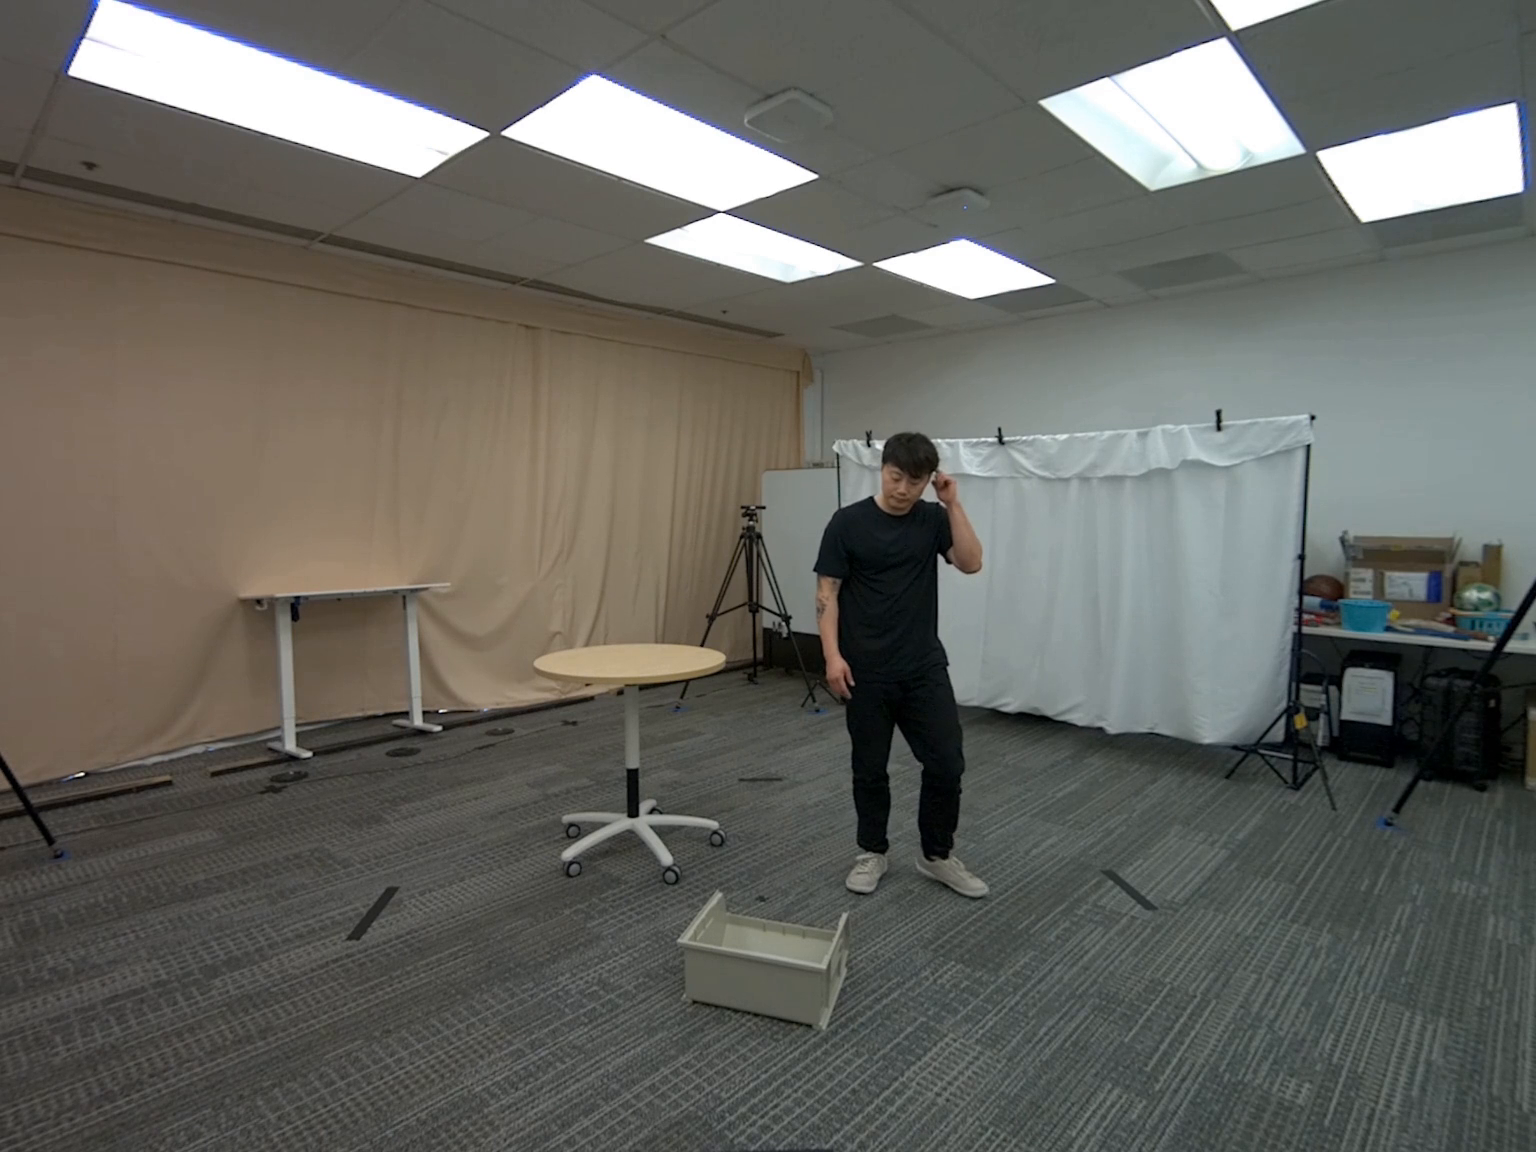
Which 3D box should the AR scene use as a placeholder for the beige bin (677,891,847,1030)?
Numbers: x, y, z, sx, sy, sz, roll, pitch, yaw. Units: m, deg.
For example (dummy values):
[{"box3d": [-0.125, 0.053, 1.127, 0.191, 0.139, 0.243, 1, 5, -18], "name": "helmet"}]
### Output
[{"box3d": [0.004, 1.101, 2.454, 0.430, 0.188, 0.371, 1, 5, 17], "name": "beige bin"}]
